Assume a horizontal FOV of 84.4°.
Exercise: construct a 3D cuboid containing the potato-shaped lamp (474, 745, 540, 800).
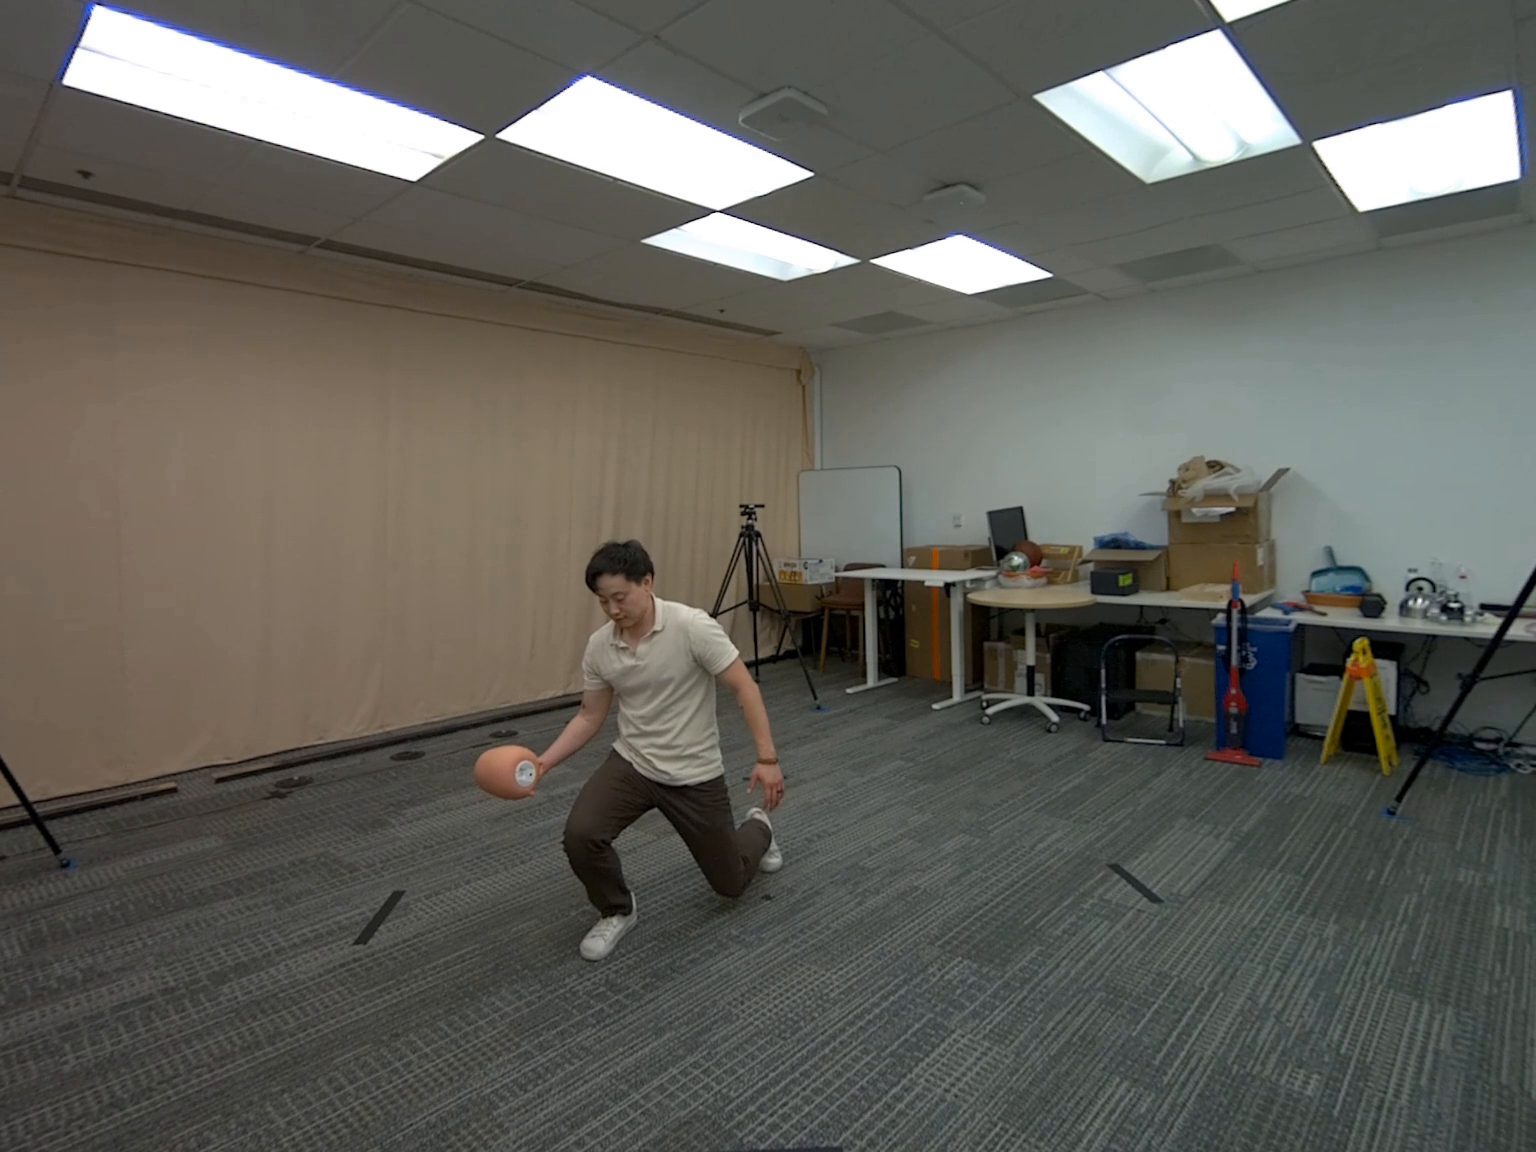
[{"bbox_3d":[-0.835,0.627,2.671,0.203,0.166,0.165,-9,-31,34],"label":"potato-shaped lamp"}]
